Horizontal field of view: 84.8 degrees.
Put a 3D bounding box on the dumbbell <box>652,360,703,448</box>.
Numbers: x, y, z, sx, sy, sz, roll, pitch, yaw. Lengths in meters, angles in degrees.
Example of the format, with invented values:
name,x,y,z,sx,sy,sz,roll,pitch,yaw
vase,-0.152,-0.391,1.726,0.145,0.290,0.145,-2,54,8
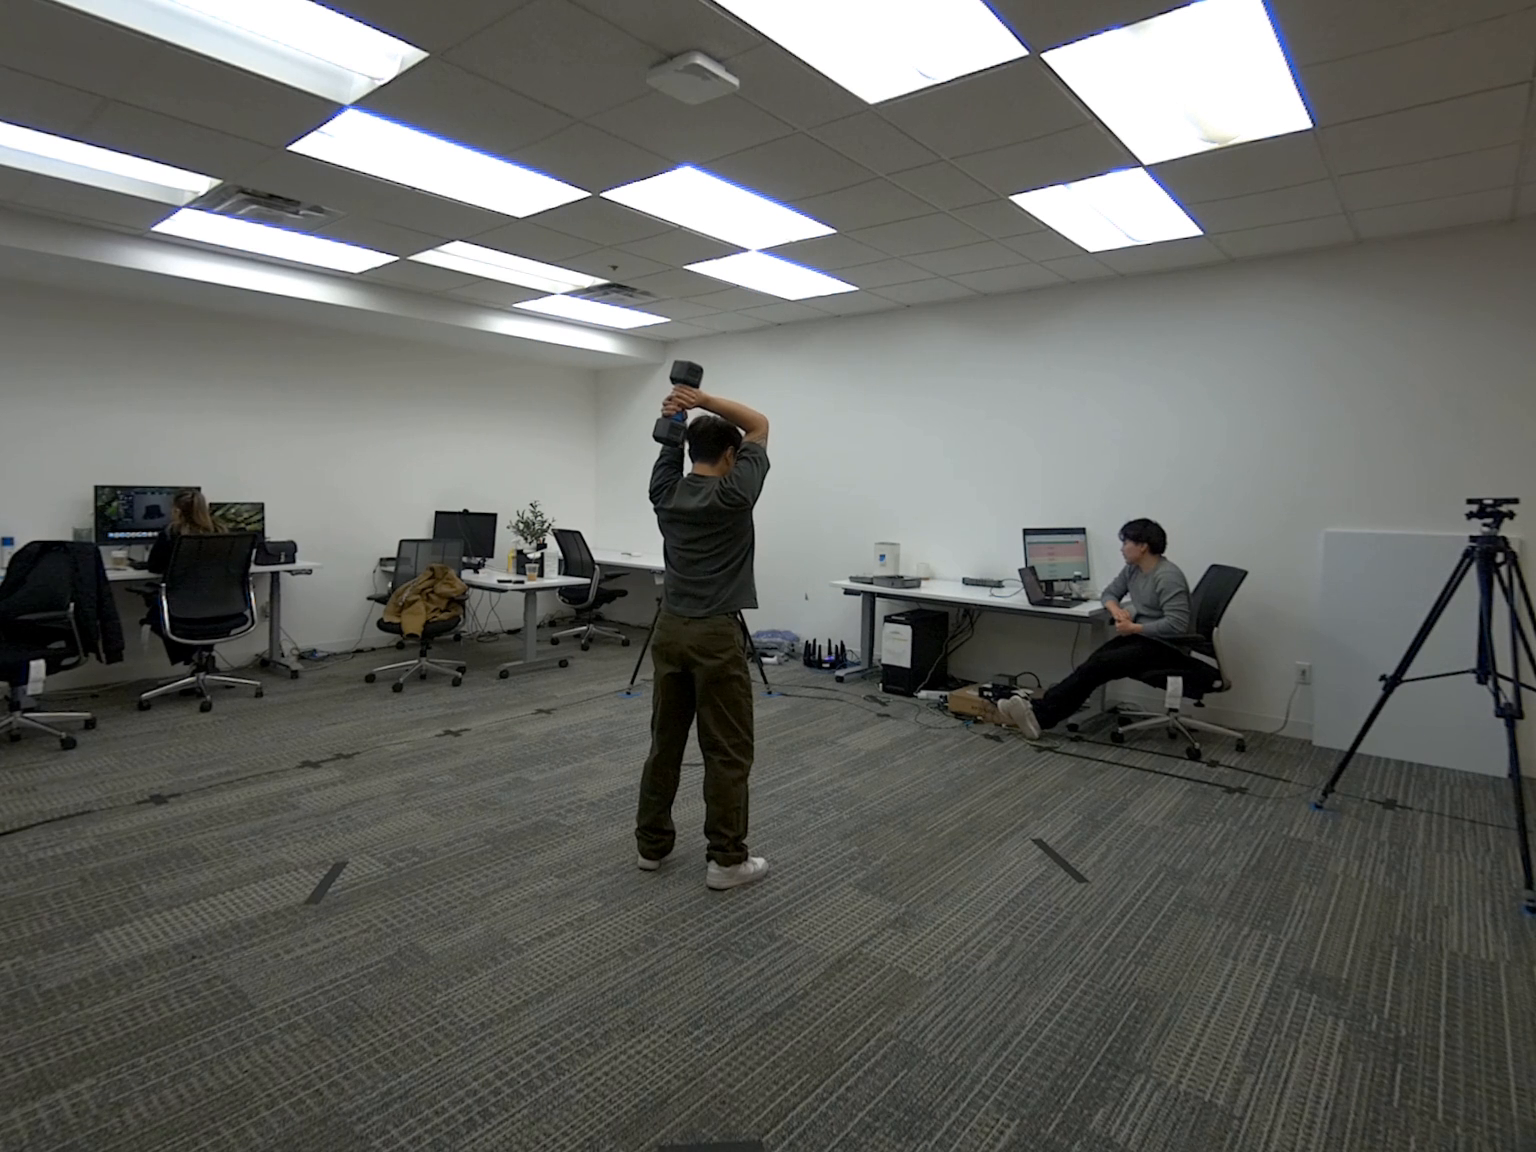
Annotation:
name,x,y,z,sx,sy,sz,roll,pitch,yaw
dumbbell,-0.323,-0.608,2.966,0.119,0.294,0.112,18,-5,-26
